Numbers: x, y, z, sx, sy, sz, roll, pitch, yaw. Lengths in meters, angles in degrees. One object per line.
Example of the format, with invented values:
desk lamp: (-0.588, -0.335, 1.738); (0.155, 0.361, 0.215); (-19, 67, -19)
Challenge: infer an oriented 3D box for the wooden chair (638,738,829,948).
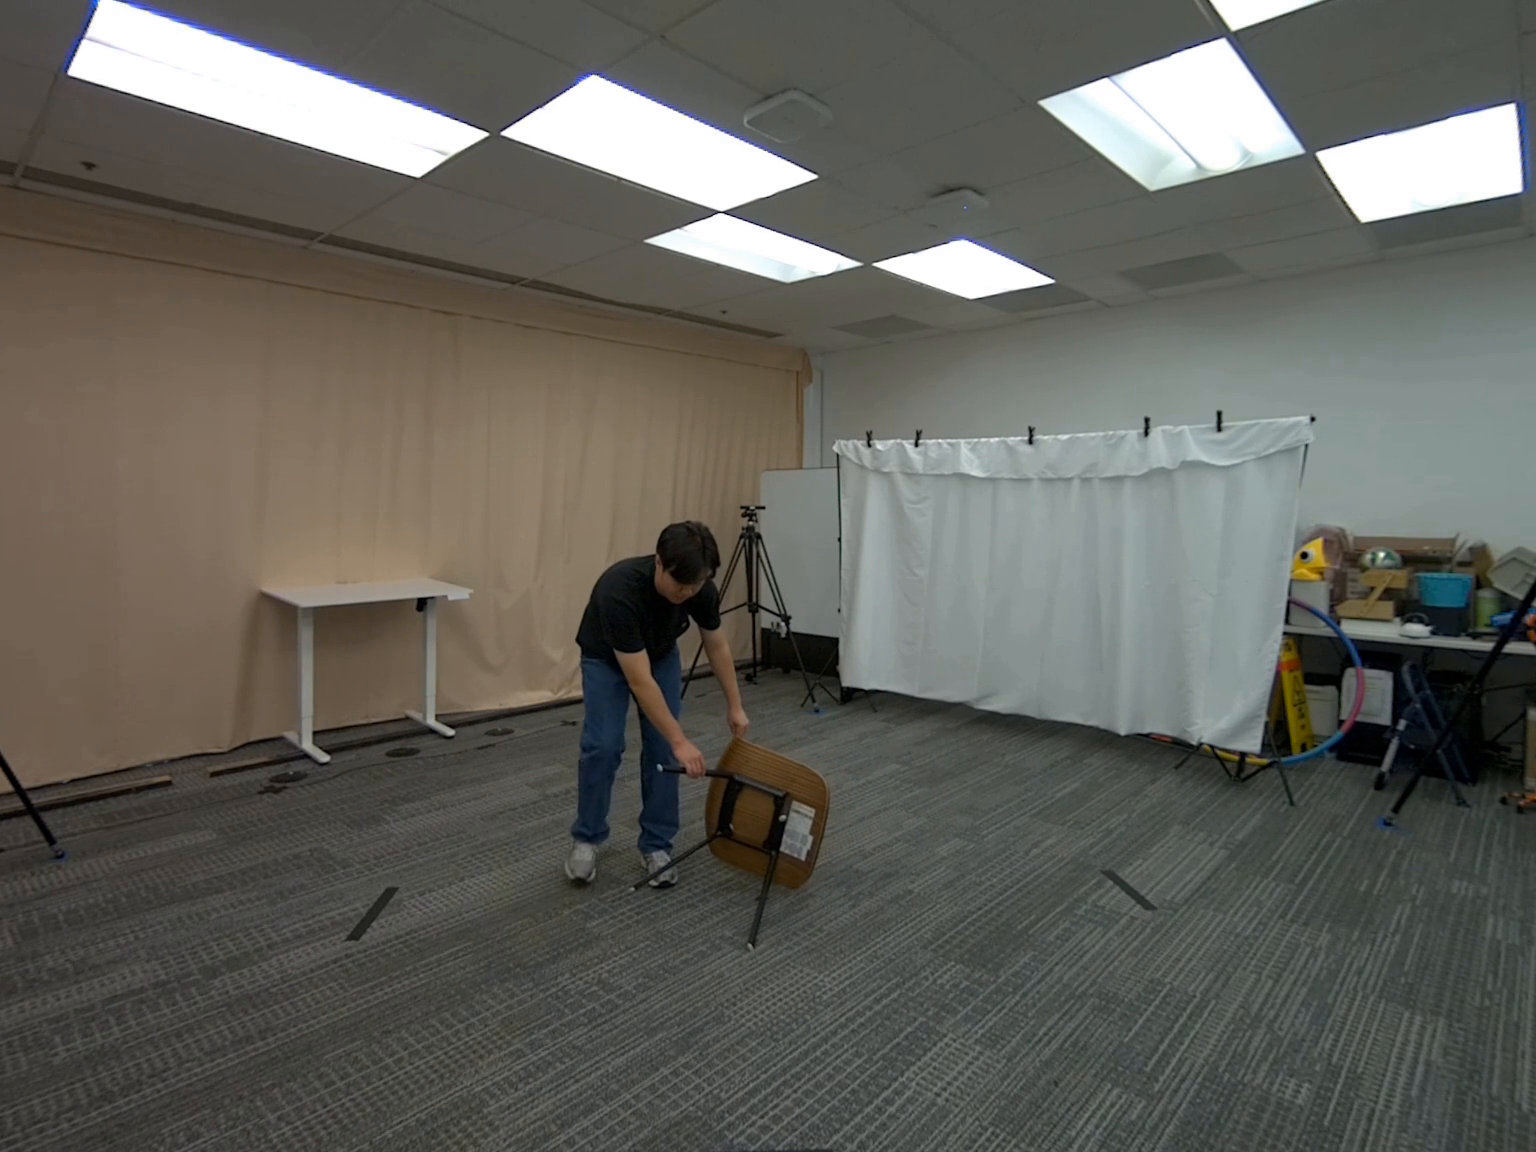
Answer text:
wooden chair: (-0.050, 0.880, 3.073); (0.533, 0.477, 0.863); (14, 7, 15)
